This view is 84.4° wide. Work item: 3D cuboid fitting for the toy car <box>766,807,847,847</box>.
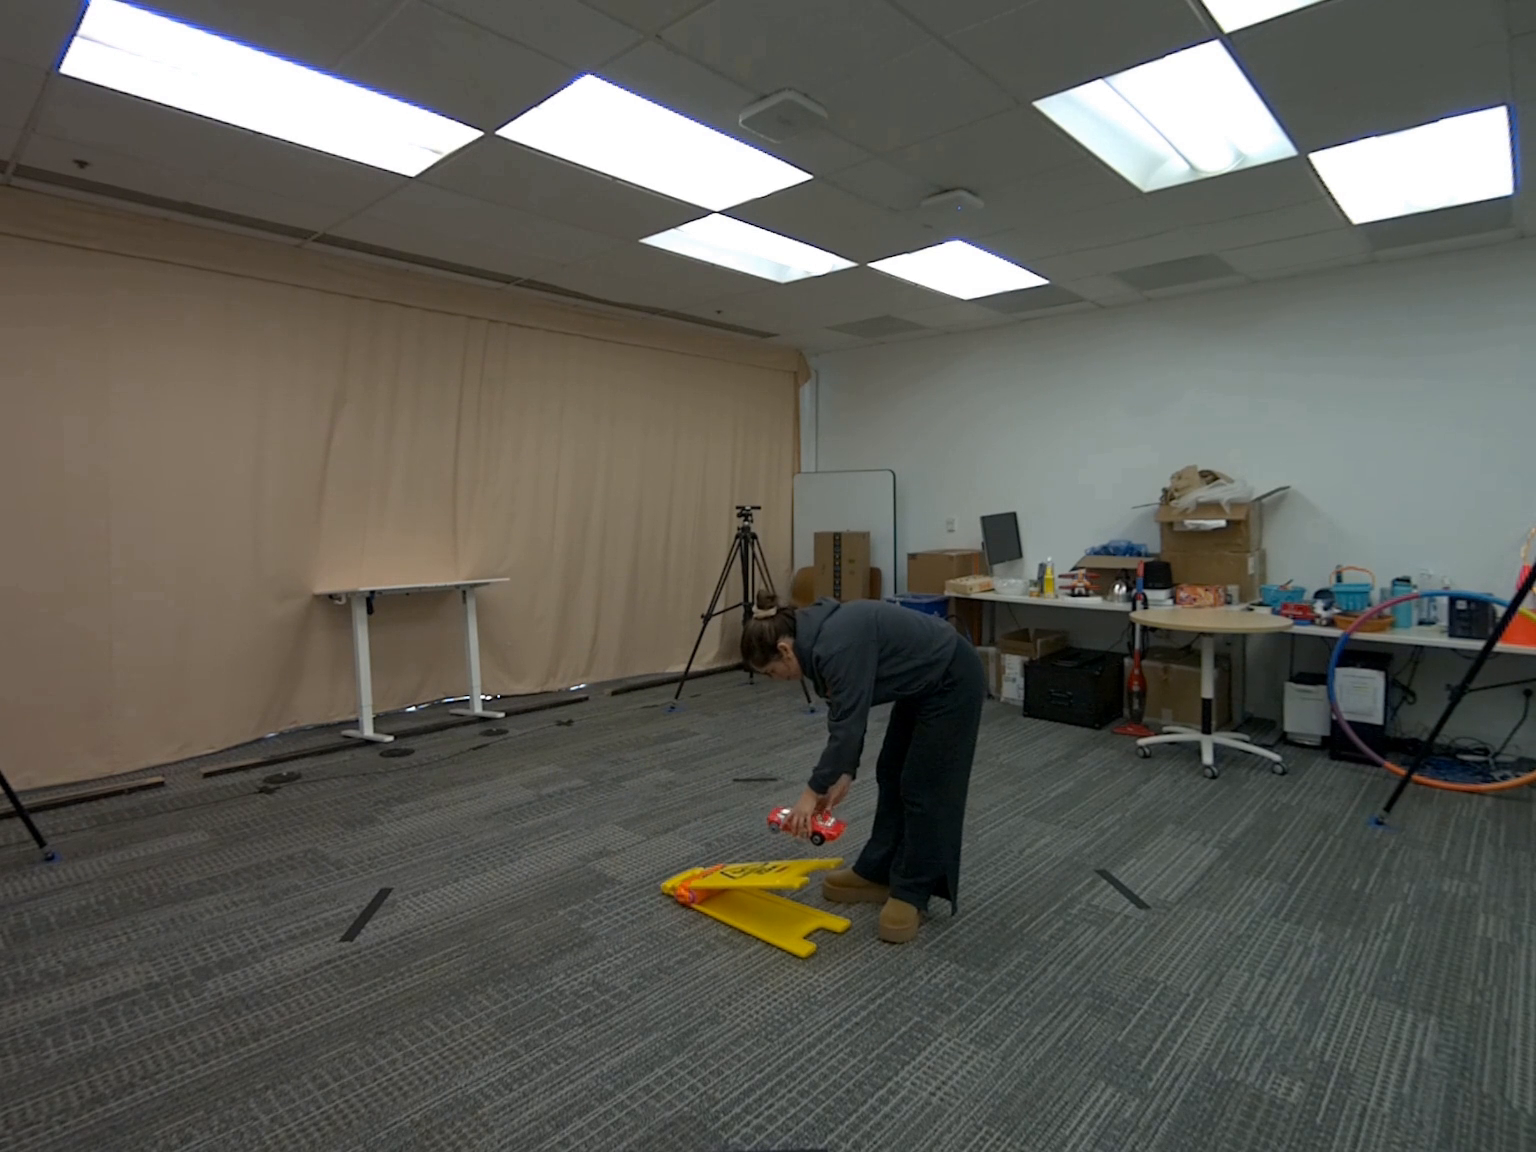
[{"bbox_3d":[0.150,0.814,2.722,0.261,0.083,0.128,-2,7,26],"label":"toy car"}]
